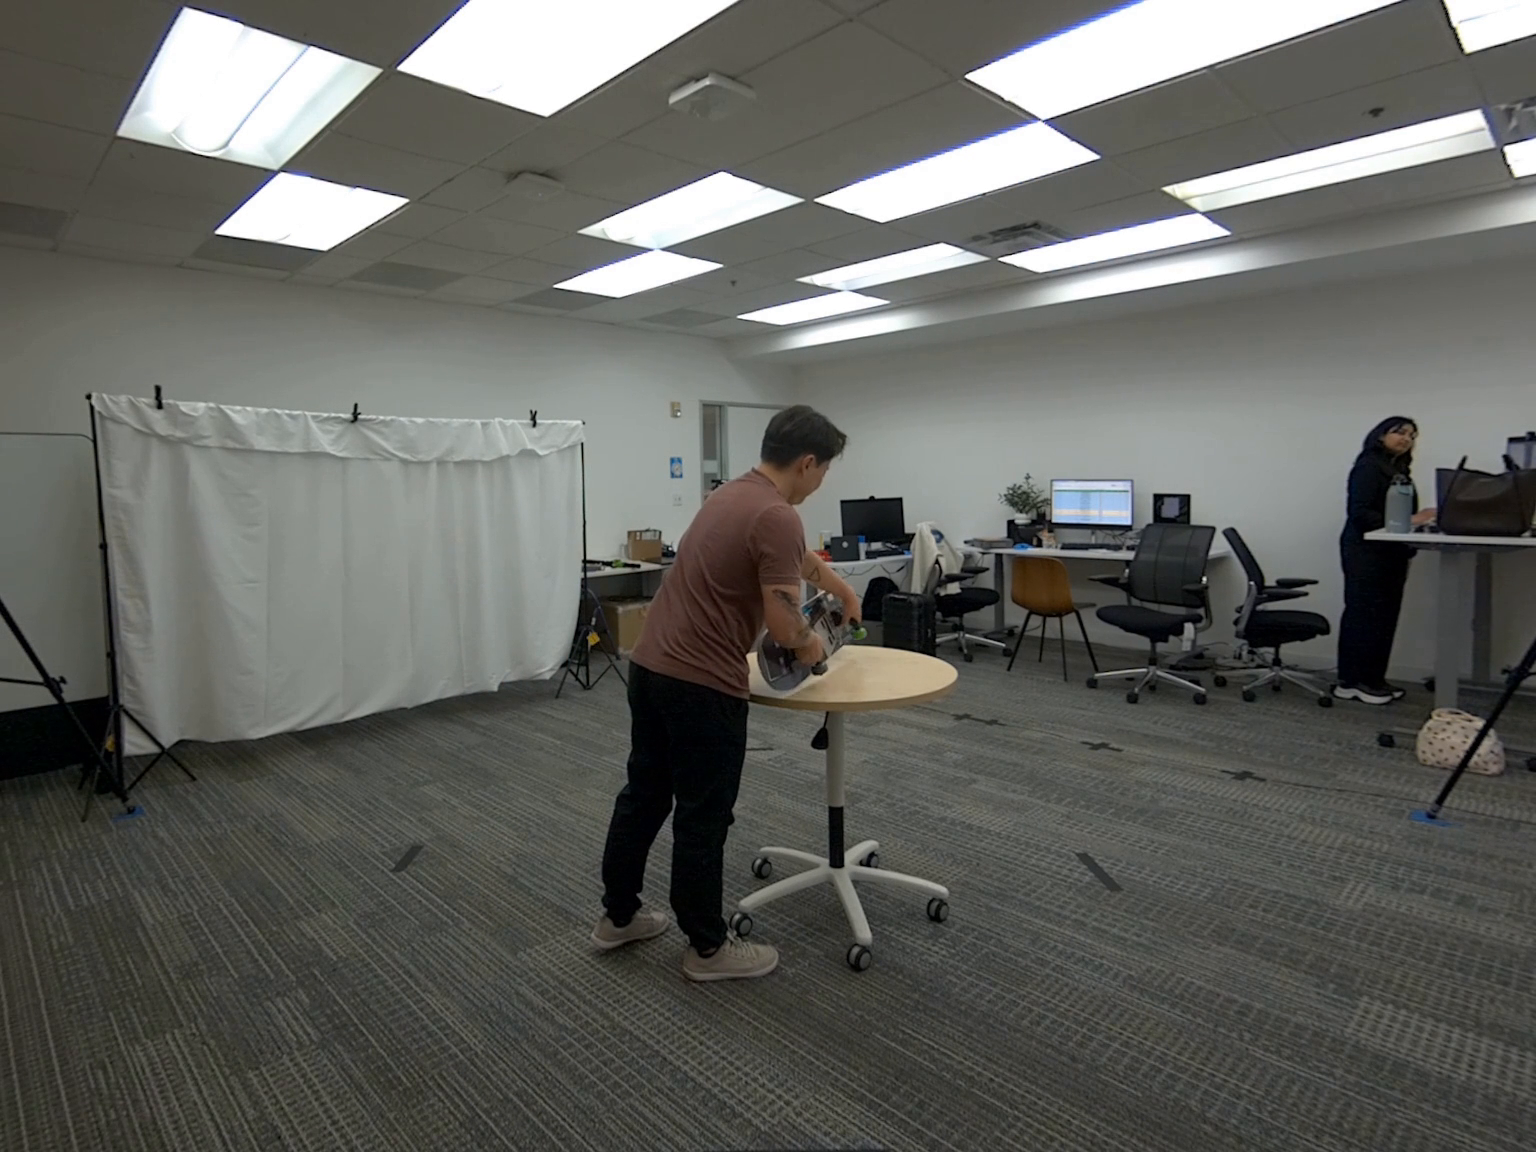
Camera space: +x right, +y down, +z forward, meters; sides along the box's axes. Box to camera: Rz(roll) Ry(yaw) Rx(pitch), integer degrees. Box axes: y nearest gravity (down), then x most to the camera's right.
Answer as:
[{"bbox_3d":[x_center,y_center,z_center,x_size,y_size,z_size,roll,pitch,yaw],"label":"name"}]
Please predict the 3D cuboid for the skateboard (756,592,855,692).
[{"bbox_3d":[0.173,0.173,2.711,0.112,0.193,0.775,-17,5,26],"label":"skateboard"}]
